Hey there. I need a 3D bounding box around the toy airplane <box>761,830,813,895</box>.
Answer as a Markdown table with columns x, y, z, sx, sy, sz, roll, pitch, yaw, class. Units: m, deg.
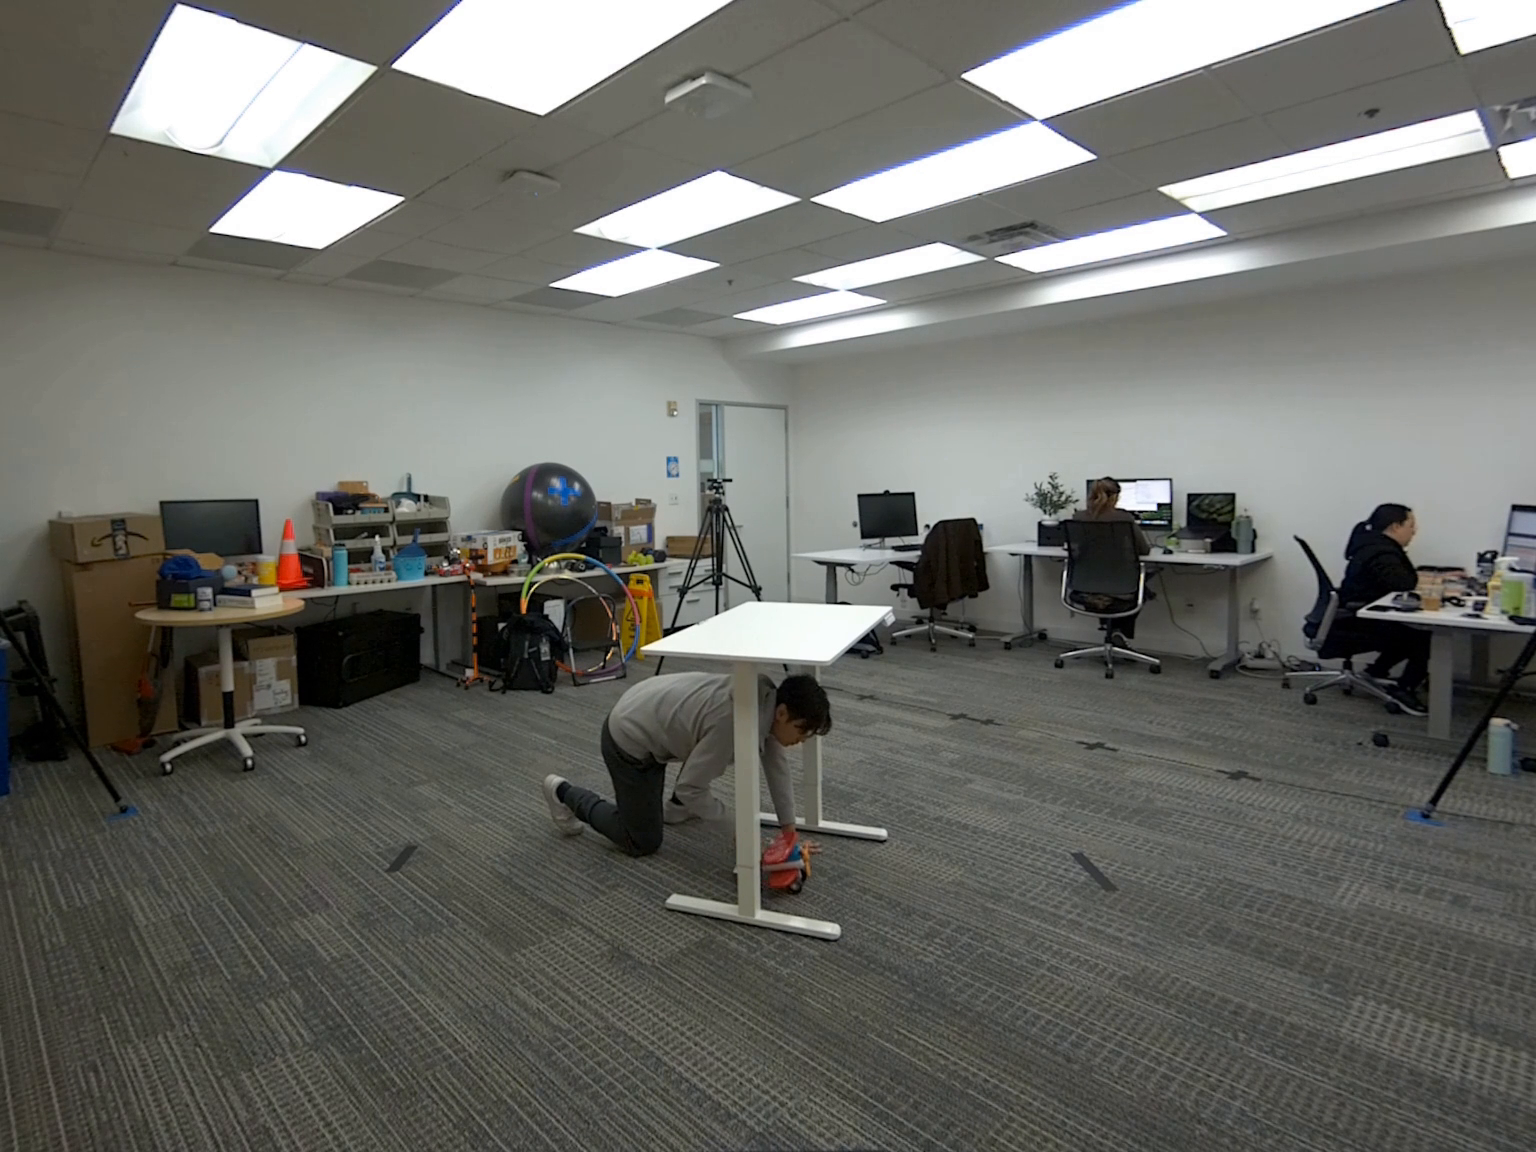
| x | y | z | sx | sy | sz | roll | pitch | yaw | class |
| --- | --- | --- | --- | --- | --- | --- | --- | --- | --- |
| 0.017 | 0.995 | 2.918 | 0.256 | 0.156 | 0.255 | -1 | 5 | -13 | toy airplane |
